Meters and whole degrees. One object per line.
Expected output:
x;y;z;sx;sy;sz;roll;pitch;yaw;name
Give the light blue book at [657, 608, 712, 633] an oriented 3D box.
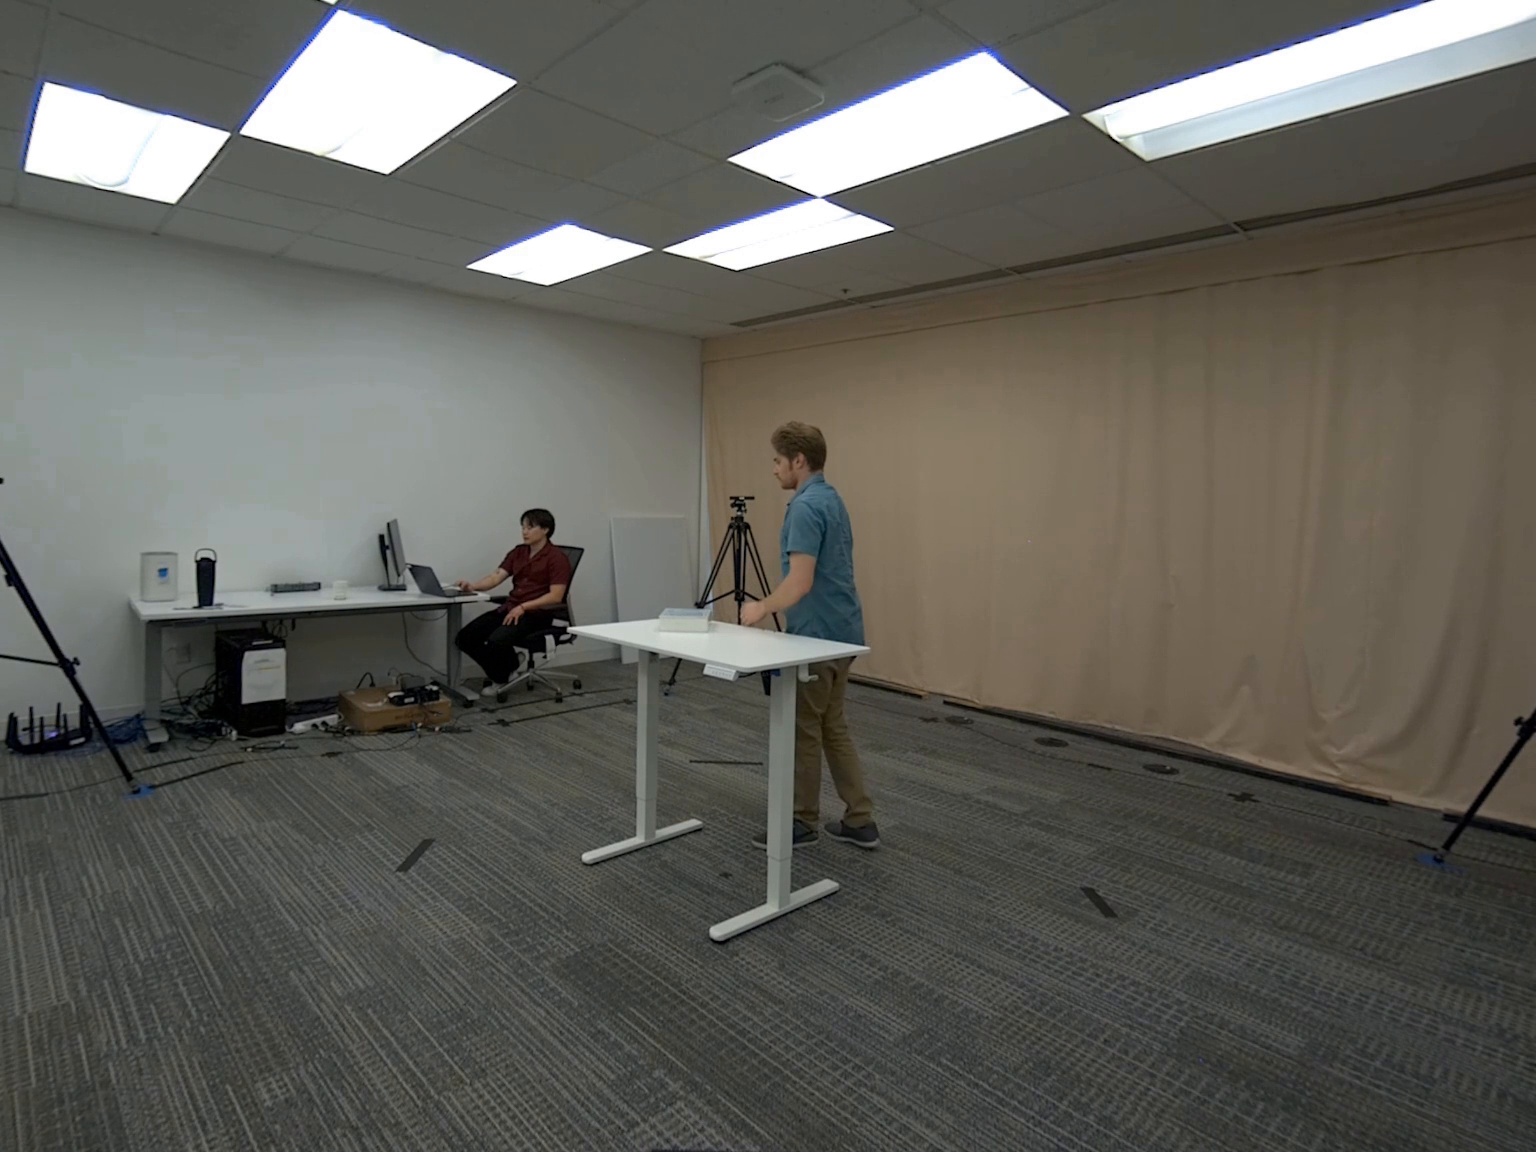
-0.325;0.172;3.301;0.192;0.059;0.261;1;5;1;light blue book
